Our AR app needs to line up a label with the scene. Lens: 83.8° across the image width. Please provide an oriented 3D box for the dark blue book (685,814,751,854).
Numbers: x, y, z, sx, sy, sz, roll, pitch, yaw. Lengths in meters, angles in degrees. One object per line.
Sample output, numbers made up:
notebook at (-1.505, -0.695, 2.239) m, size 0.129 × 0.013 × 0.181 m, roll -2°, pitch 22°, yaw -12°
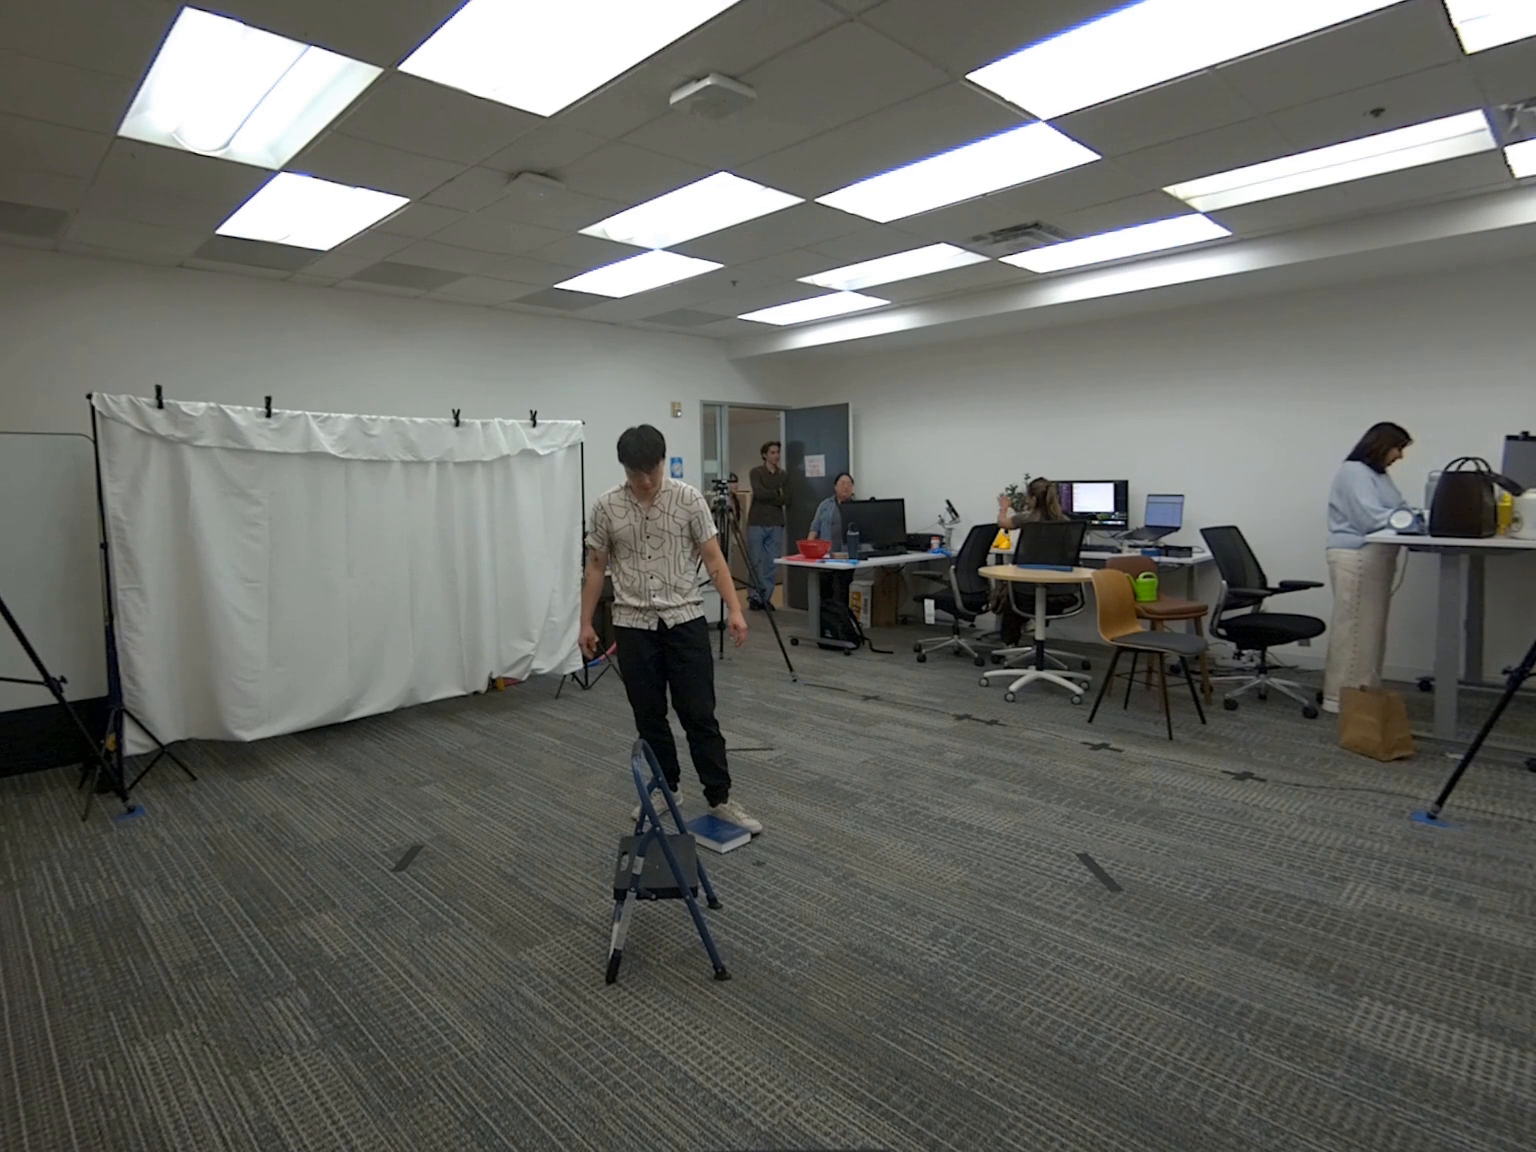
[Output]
dark blue book at (-0.209, 1.005, 3.331) m, size 0.253 × 0.045 × 0.159 m, roll 6°, pitch 10°, yaw 43°
